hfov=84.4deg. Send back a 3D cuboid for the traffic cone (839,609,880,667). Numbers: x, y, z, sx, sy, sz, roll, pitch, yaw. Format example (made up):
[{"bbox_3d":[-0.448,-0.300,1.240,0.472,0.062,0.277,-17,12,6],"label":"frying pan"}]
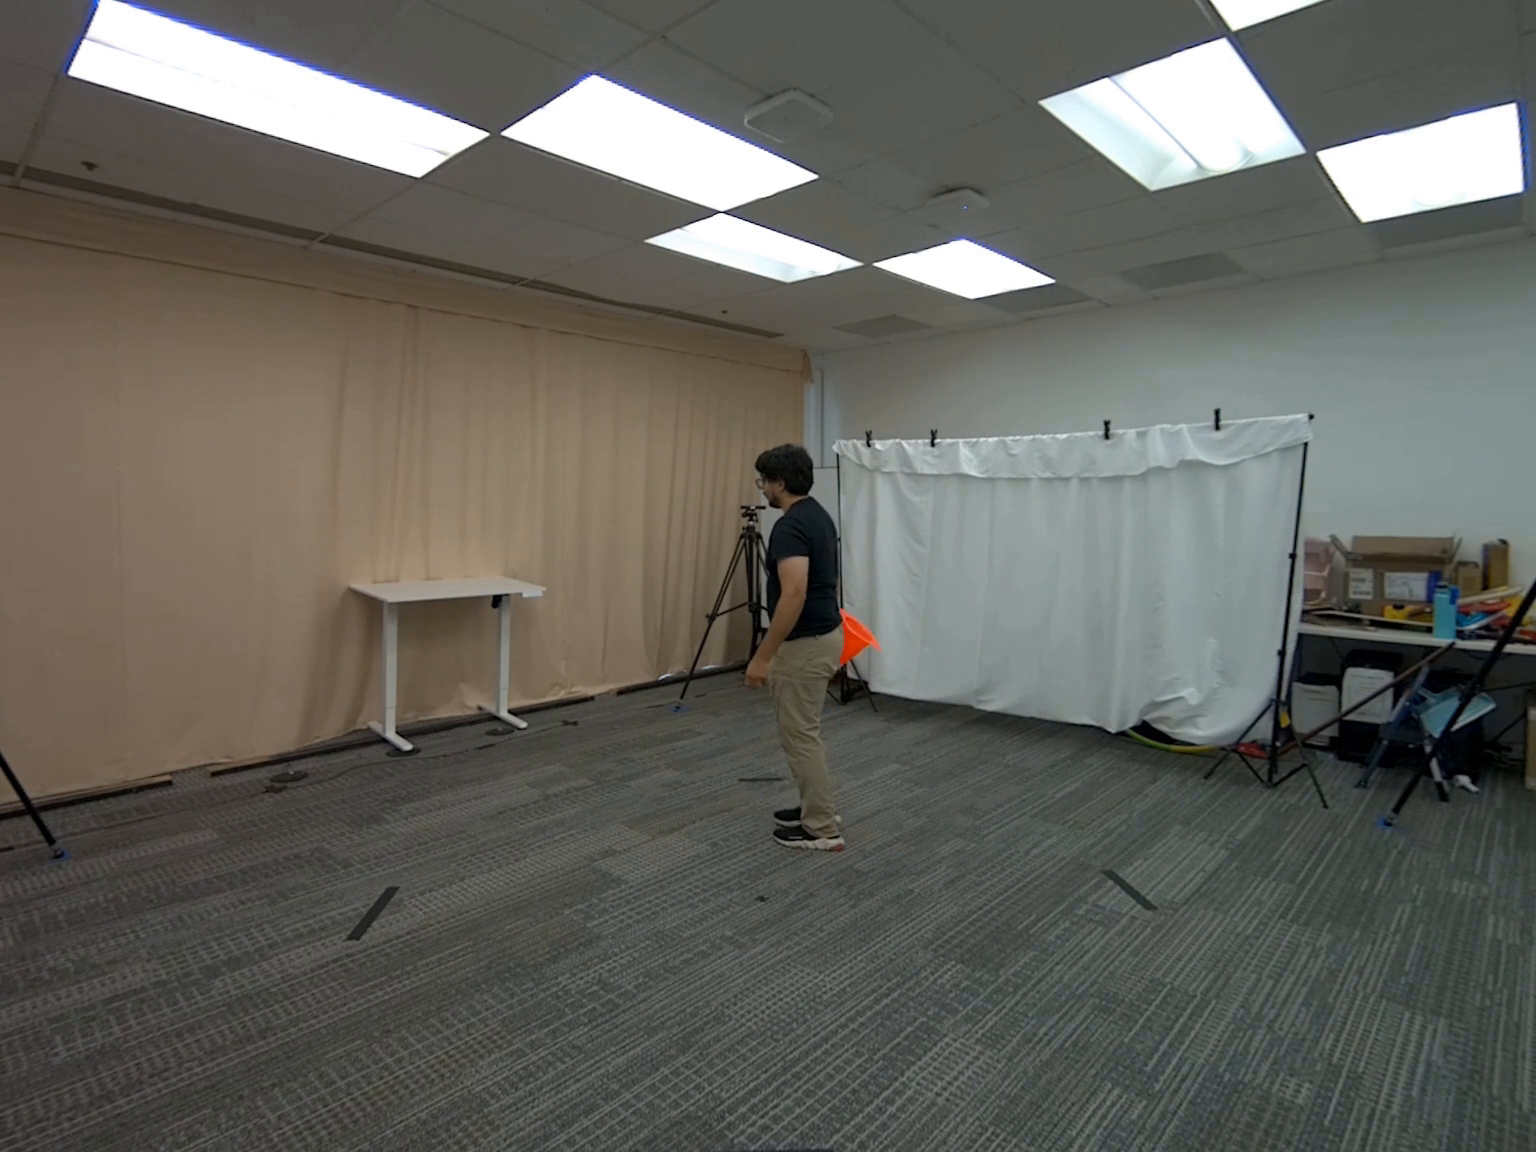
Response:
[{"bbox_3d":[0.276,0.371,3.723,0.200,0.385,0.208,33,21,-24],"label":"traffic cone"}]
